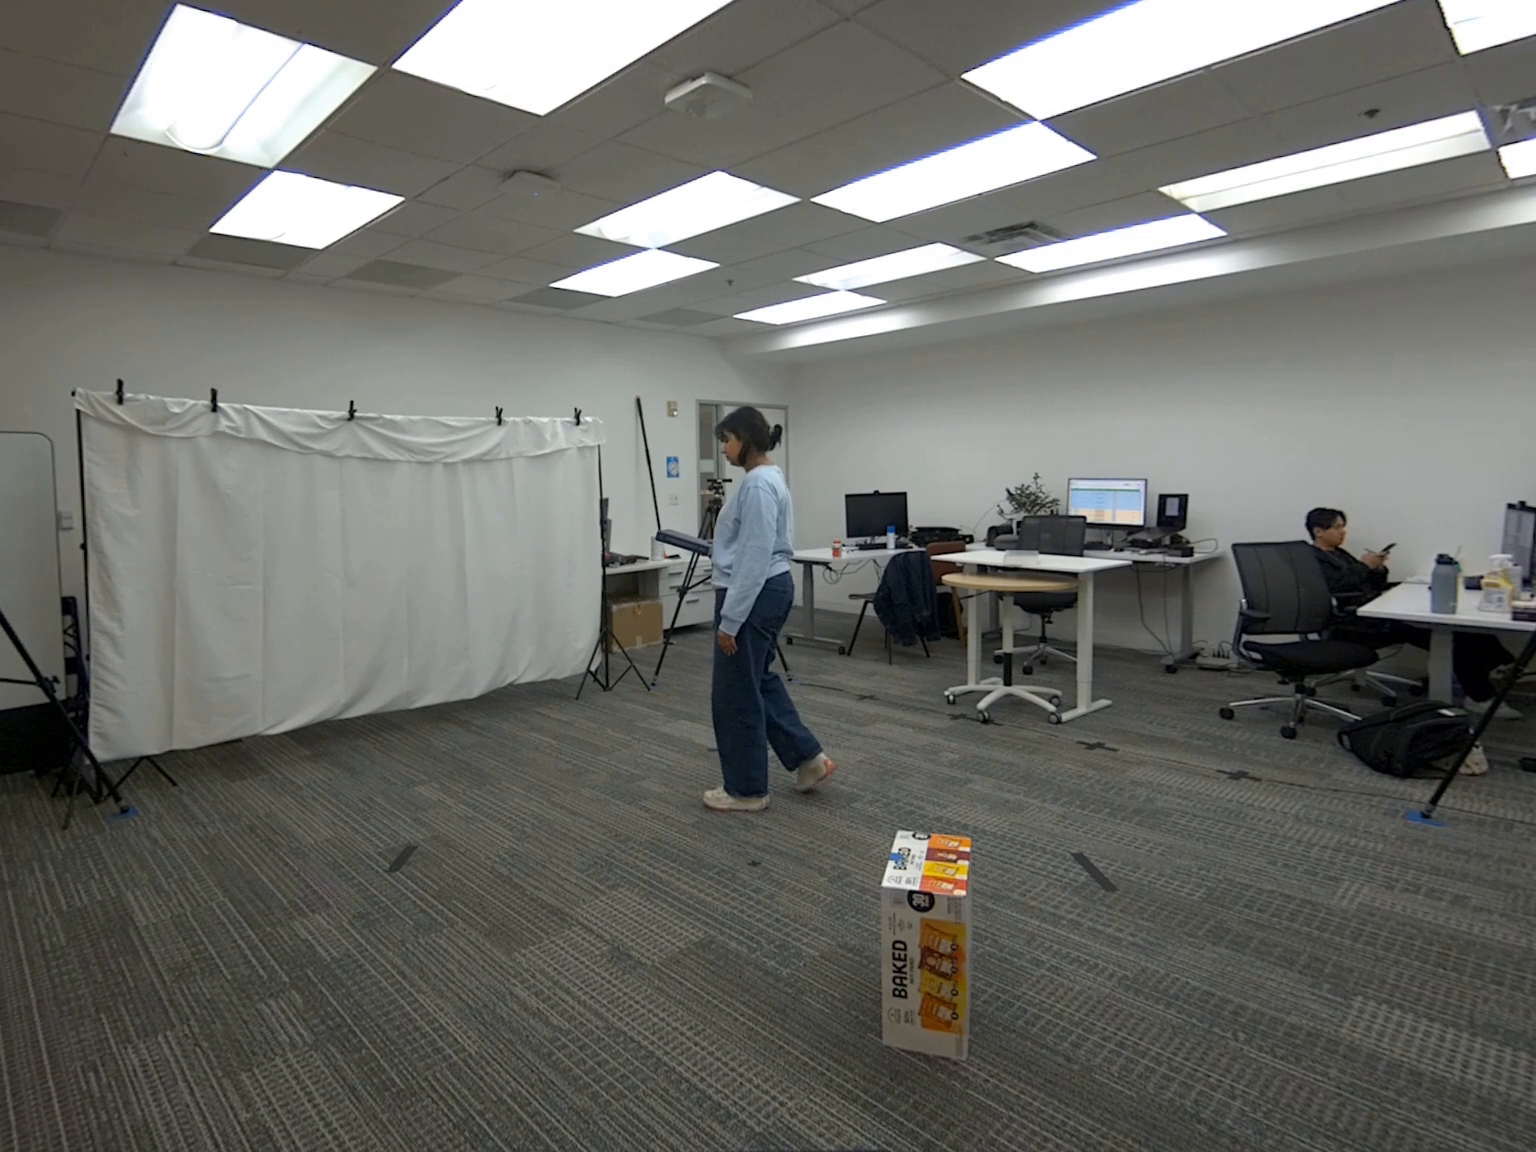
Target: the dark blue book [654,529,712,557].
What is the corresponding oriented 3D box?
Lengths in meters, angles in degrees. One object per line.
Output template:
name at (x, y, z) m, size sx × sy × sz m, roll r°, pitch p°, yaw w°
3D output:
dark blue book at (-0.347, -0.149, 3.720) m, size 0.245 × 0.045 × 0.164 m, roll 14°, pitch 6°, yaw 0°
